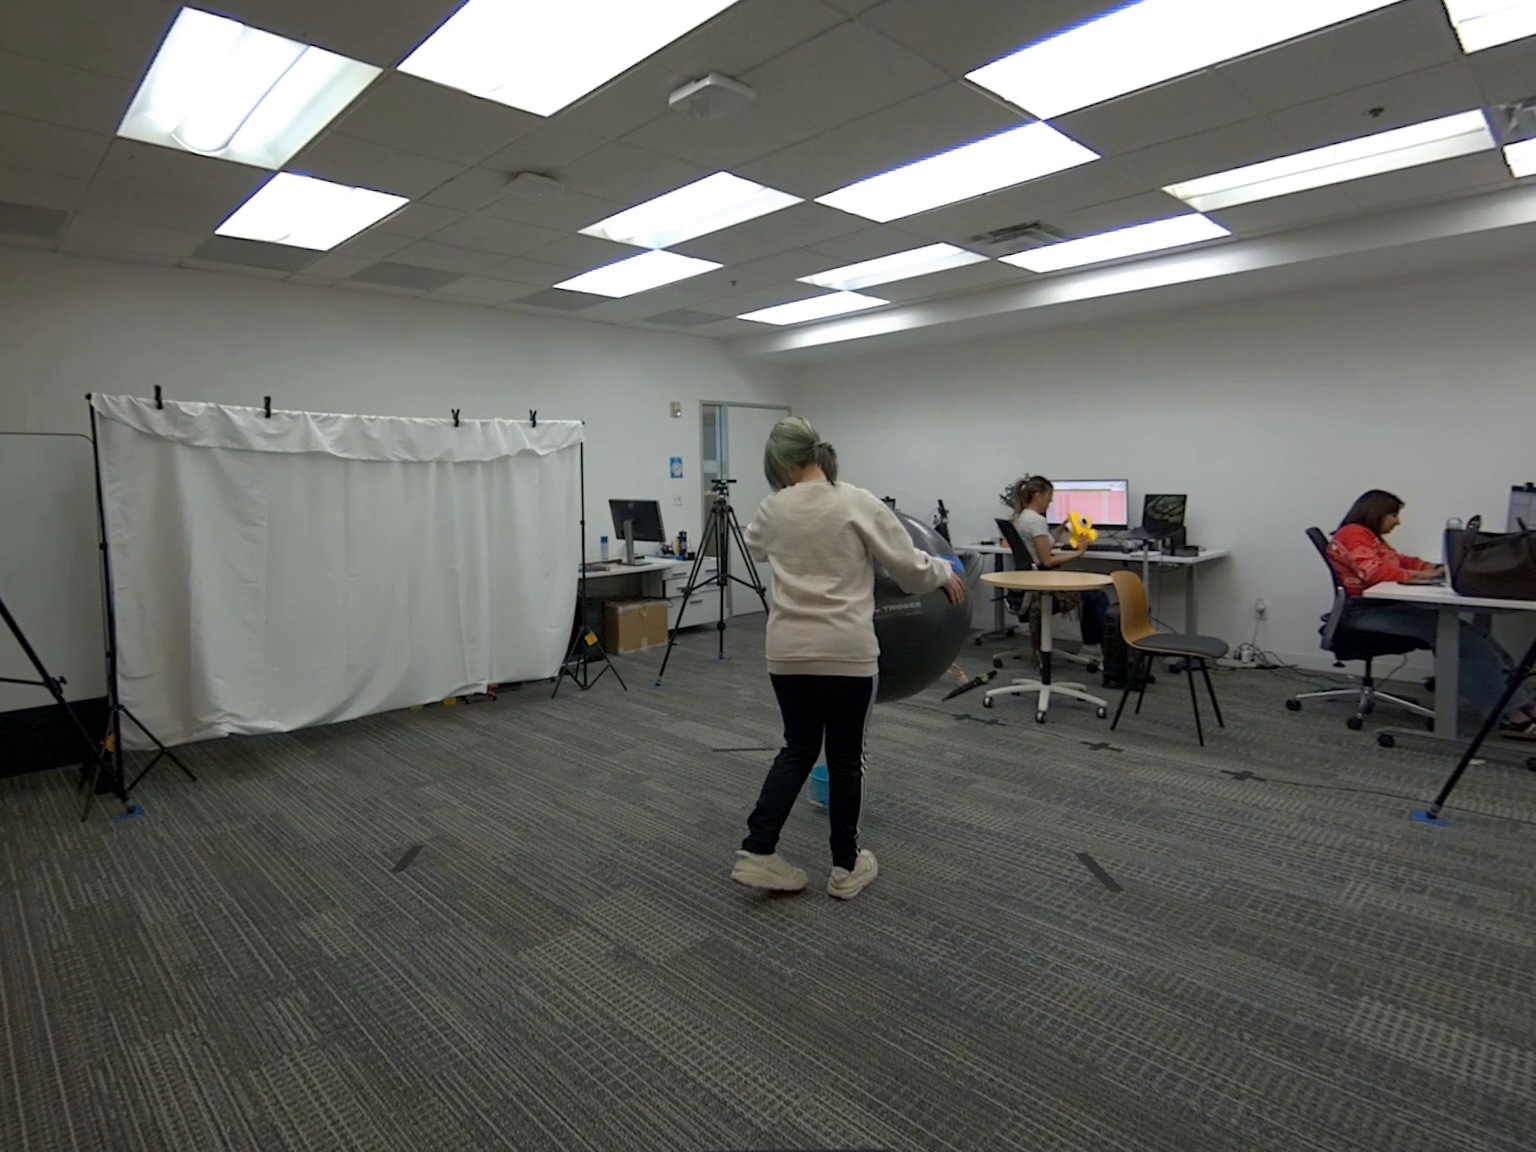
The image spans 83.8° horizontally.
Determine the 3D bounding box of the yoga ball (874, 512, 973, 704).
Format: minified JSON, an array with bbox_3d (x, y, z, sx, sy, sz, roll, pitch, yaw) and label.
[{"bbox_3d":[0.414,0.121,3.350,0.757,0.755,0.762,-1,5,-2],"label":"yoga ball"}]
